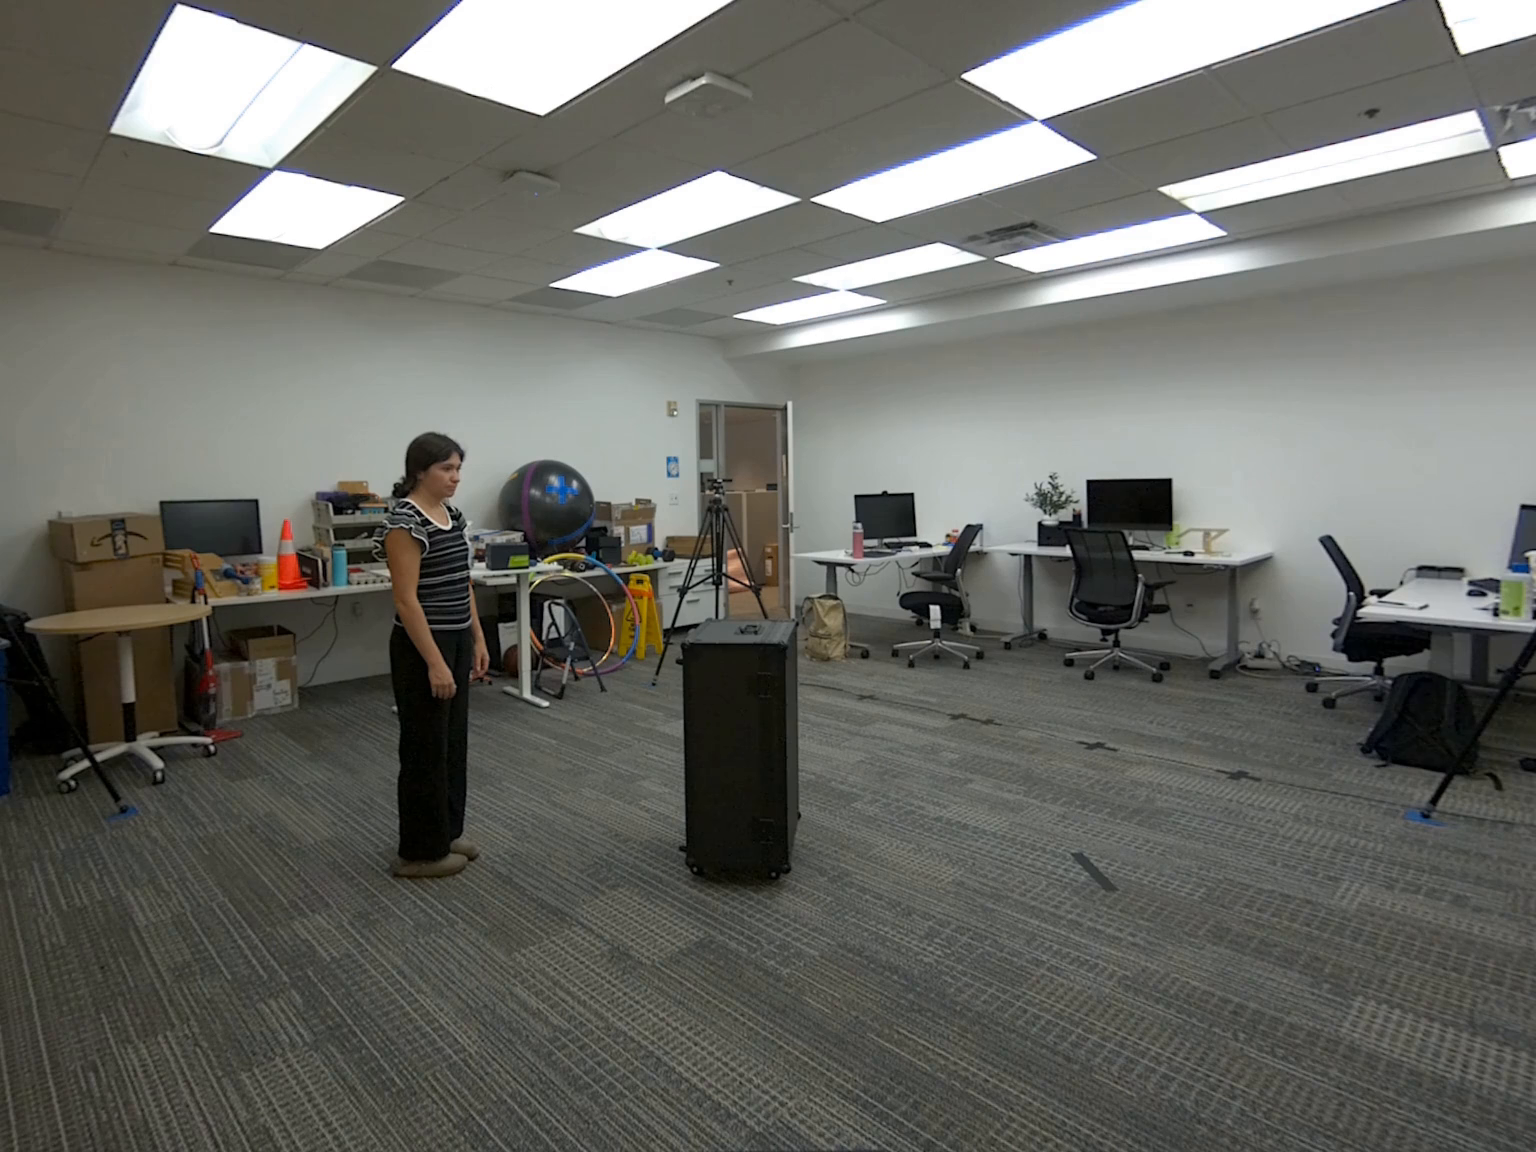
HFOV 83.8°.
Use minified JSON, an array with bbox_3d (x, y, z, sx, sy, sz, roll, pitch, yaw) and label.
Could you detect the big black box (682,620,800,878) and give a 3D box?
[{"bbox_3d":[-0.097,0.613,3.106,0.400,0.858,0.519,-1,5,8],"label":"big black box"}]
